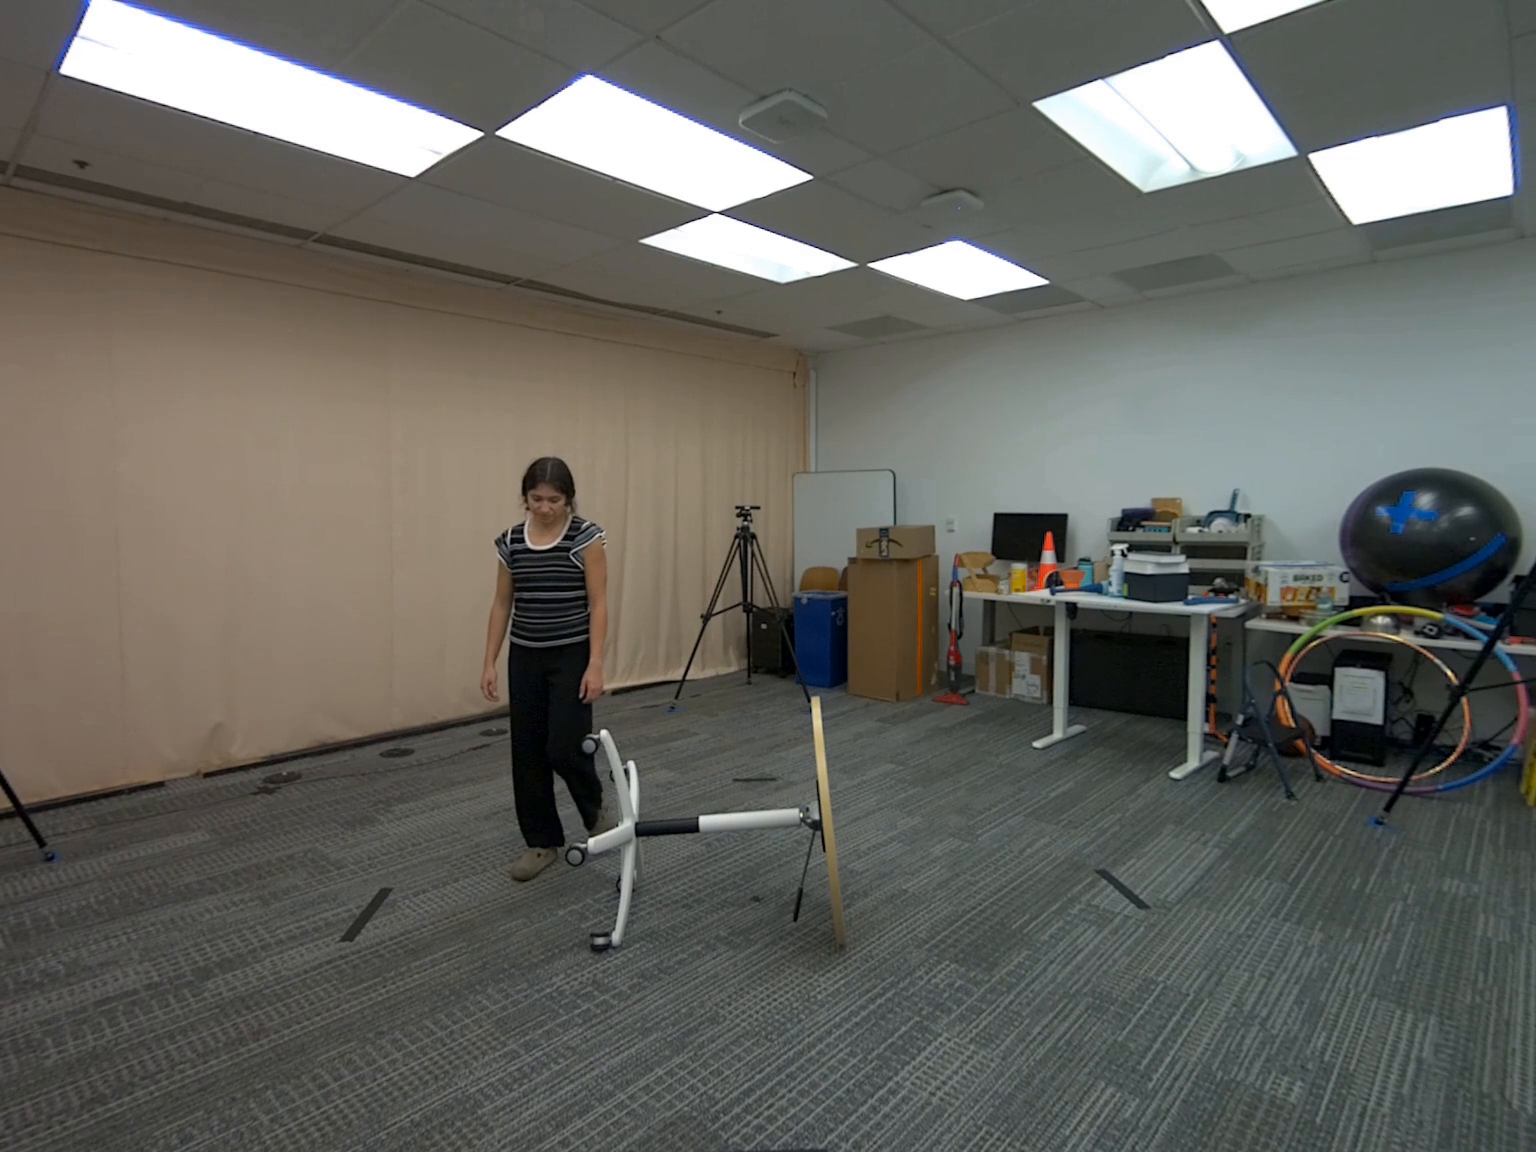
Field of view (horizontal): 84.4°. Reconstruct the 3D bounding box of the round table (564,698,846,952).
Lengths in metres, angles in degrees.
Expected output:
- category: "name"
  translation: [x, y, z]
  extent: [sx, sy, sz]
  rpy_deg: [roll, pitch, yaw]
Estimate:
- category: "round table"
  translation: [-0.188, 0.824, 2.784]
  extent: [0.790, 0.783, 0.783]
  rpy_deg: [-6, 3, 4]
